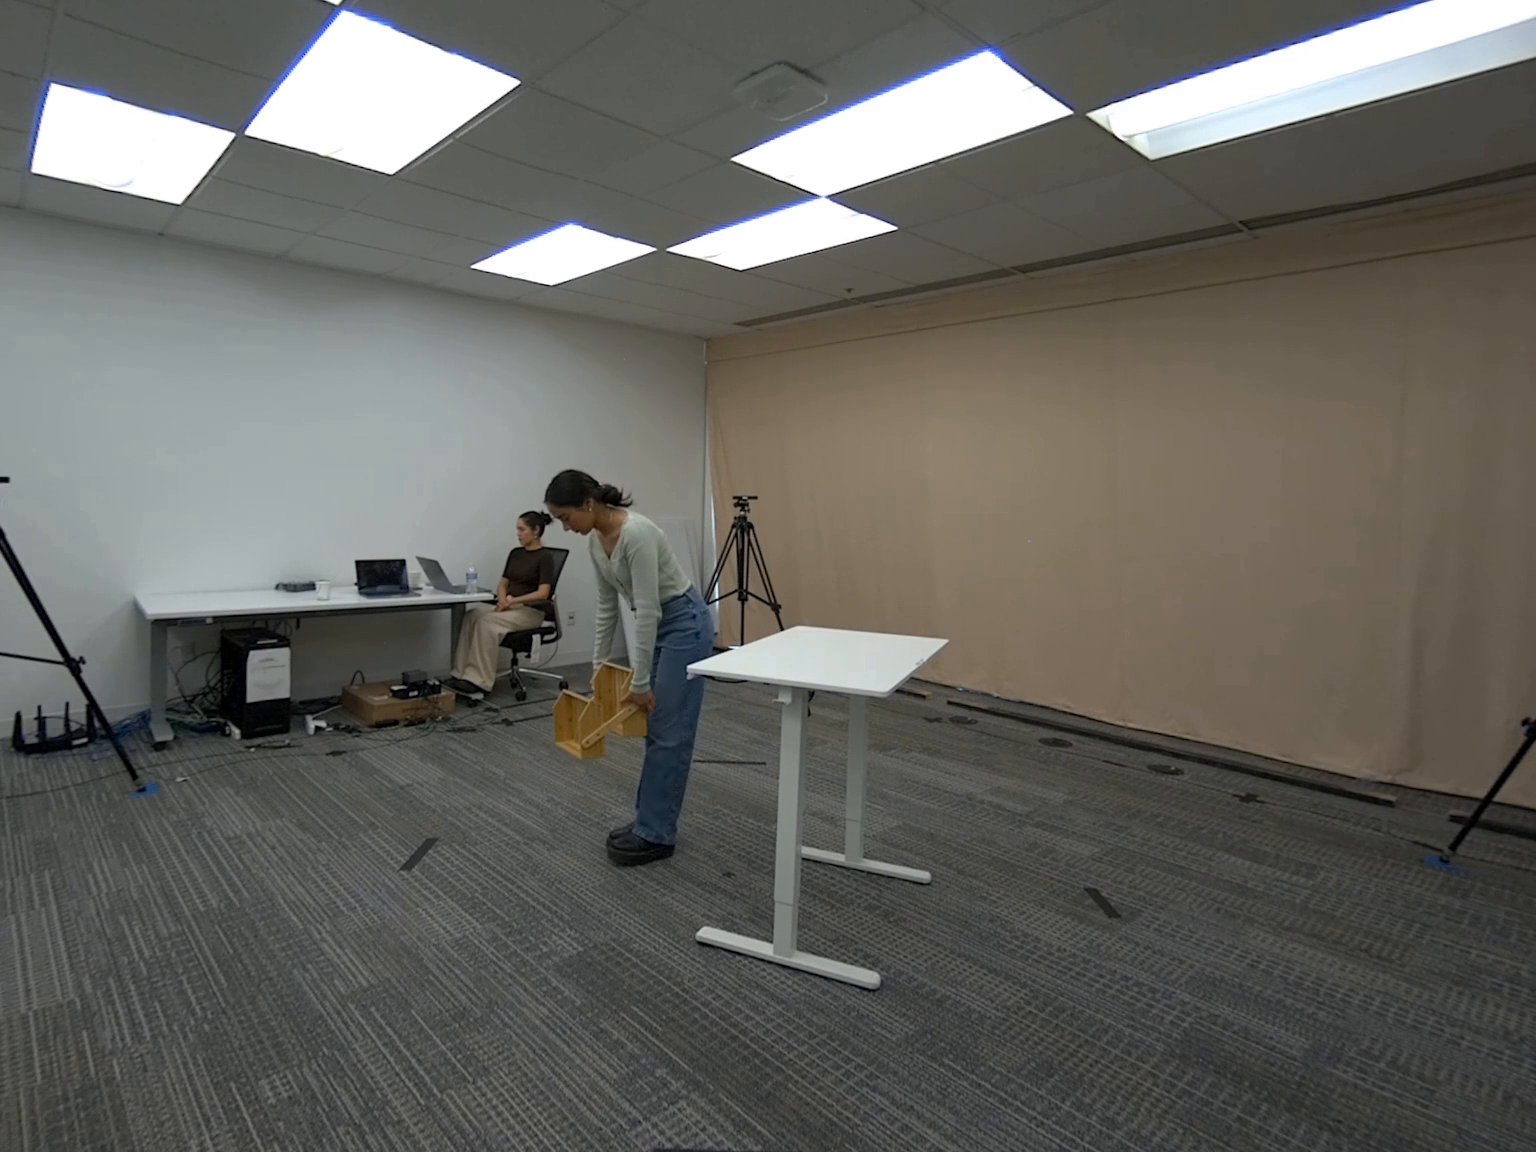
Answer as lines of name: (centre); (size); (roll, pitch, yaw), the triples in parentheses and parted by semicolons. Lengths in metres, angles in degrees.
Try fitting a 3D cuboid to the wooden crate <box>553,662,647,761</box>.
wooden crate: (-0.658, 0.506, 3.201); (0.268, 0.302, 0.331); (-3, 1, -32)
